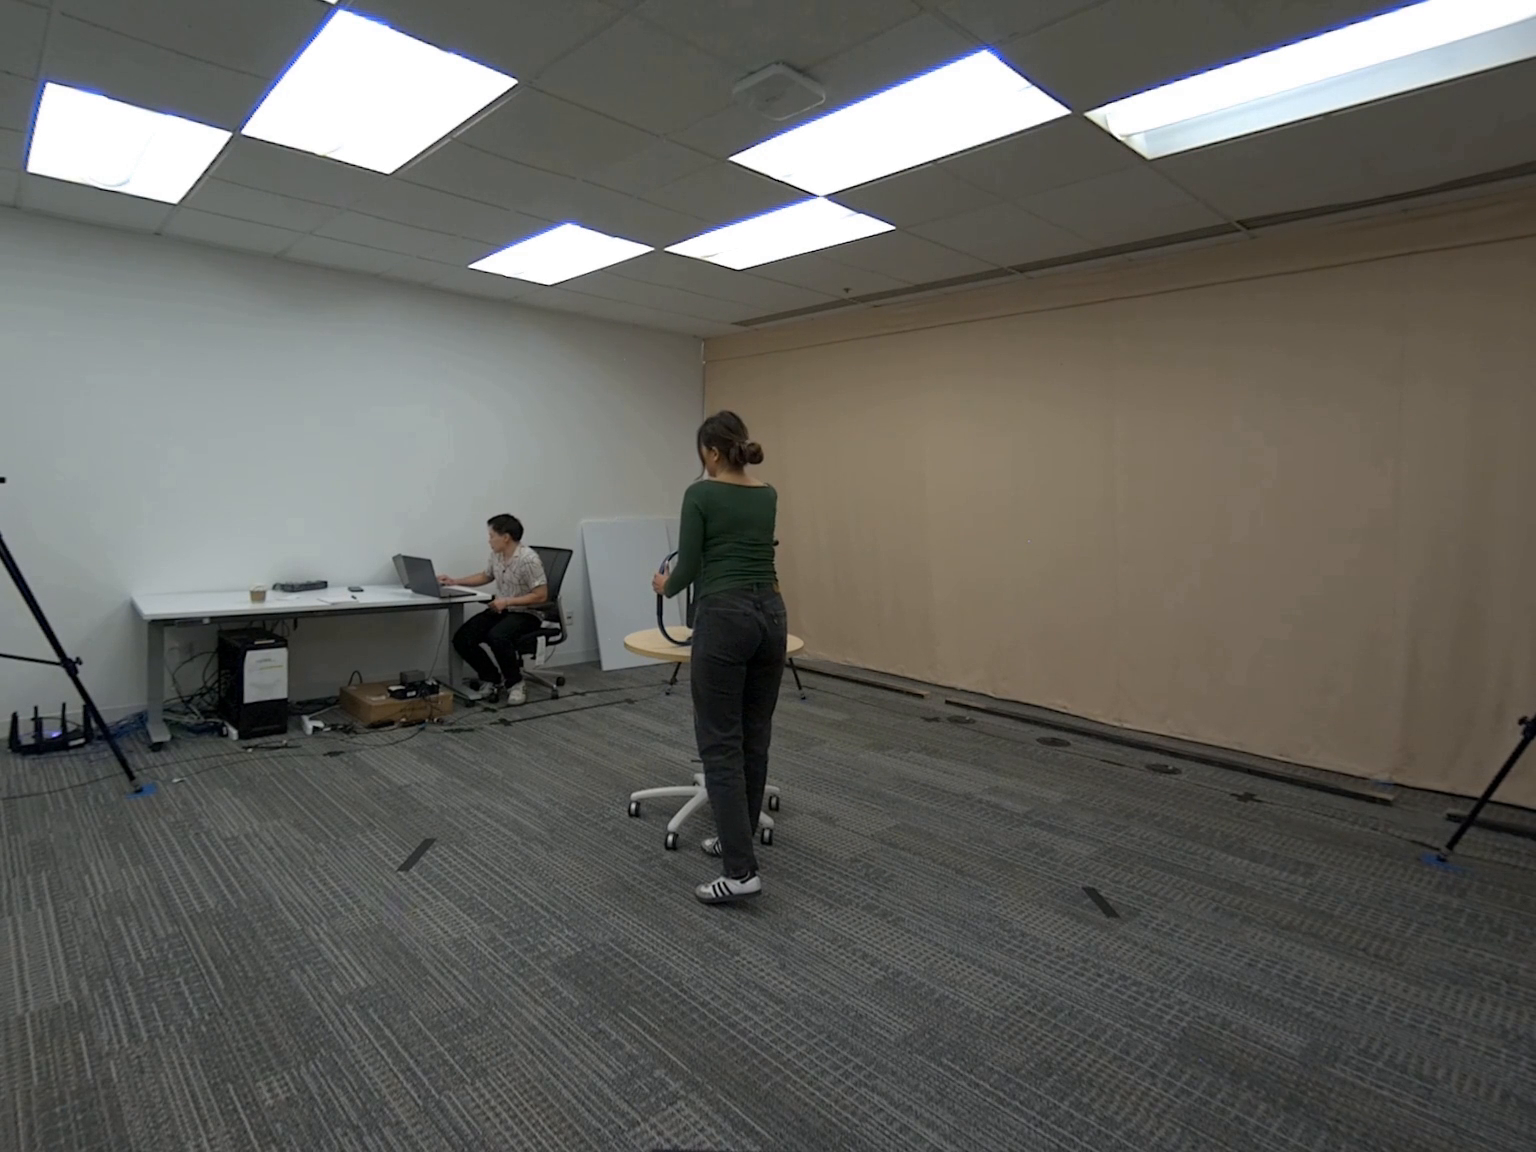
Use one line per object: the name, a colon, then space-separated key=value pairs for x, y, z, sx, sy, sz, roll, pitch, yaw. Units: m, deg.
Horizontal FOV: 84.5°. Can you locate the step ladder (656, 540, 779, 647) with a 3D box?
step ladder: x=-0.237 y=0.068 z=3.570 sx=0.356 sy=0.429 sz=0.597 roll=2 pitch=5 yaw=24
